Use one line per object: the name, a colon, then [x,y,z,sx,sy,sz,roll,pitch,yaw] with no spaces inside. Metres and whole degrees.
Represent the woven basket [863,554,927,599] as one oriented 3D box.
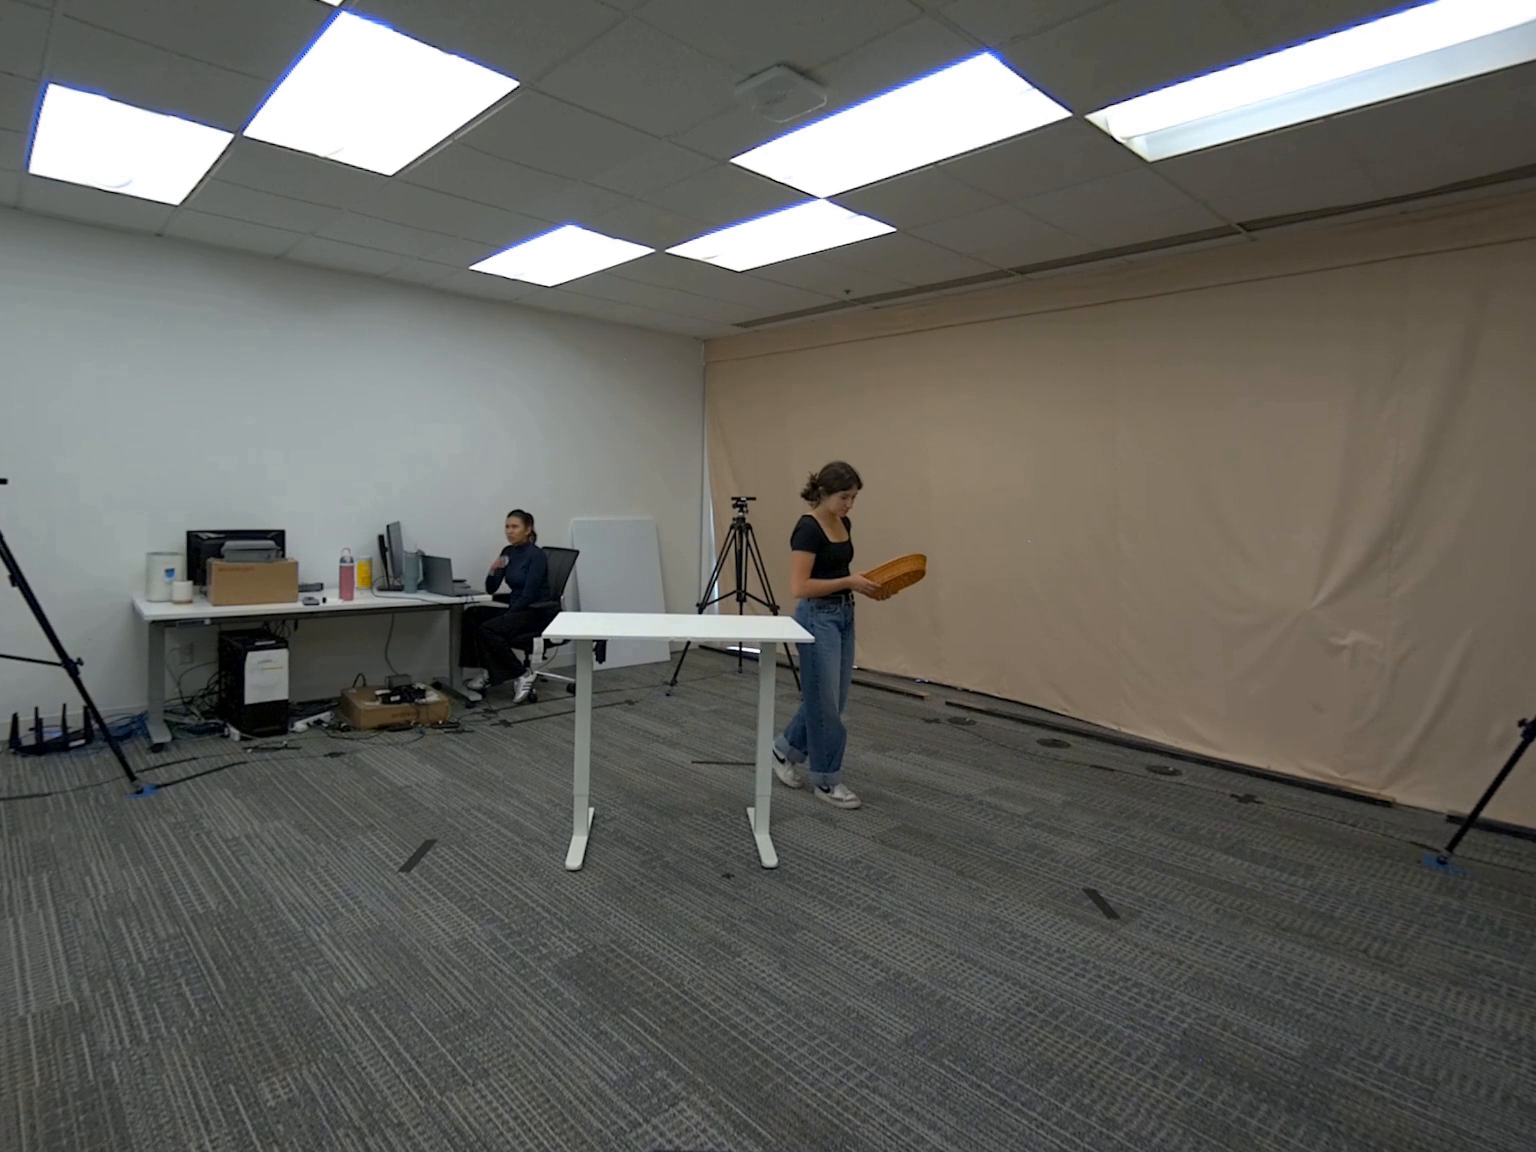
woven basket: [0.558,0.010,3.821,0.352,0.075,0.245,-25,-24,13]
